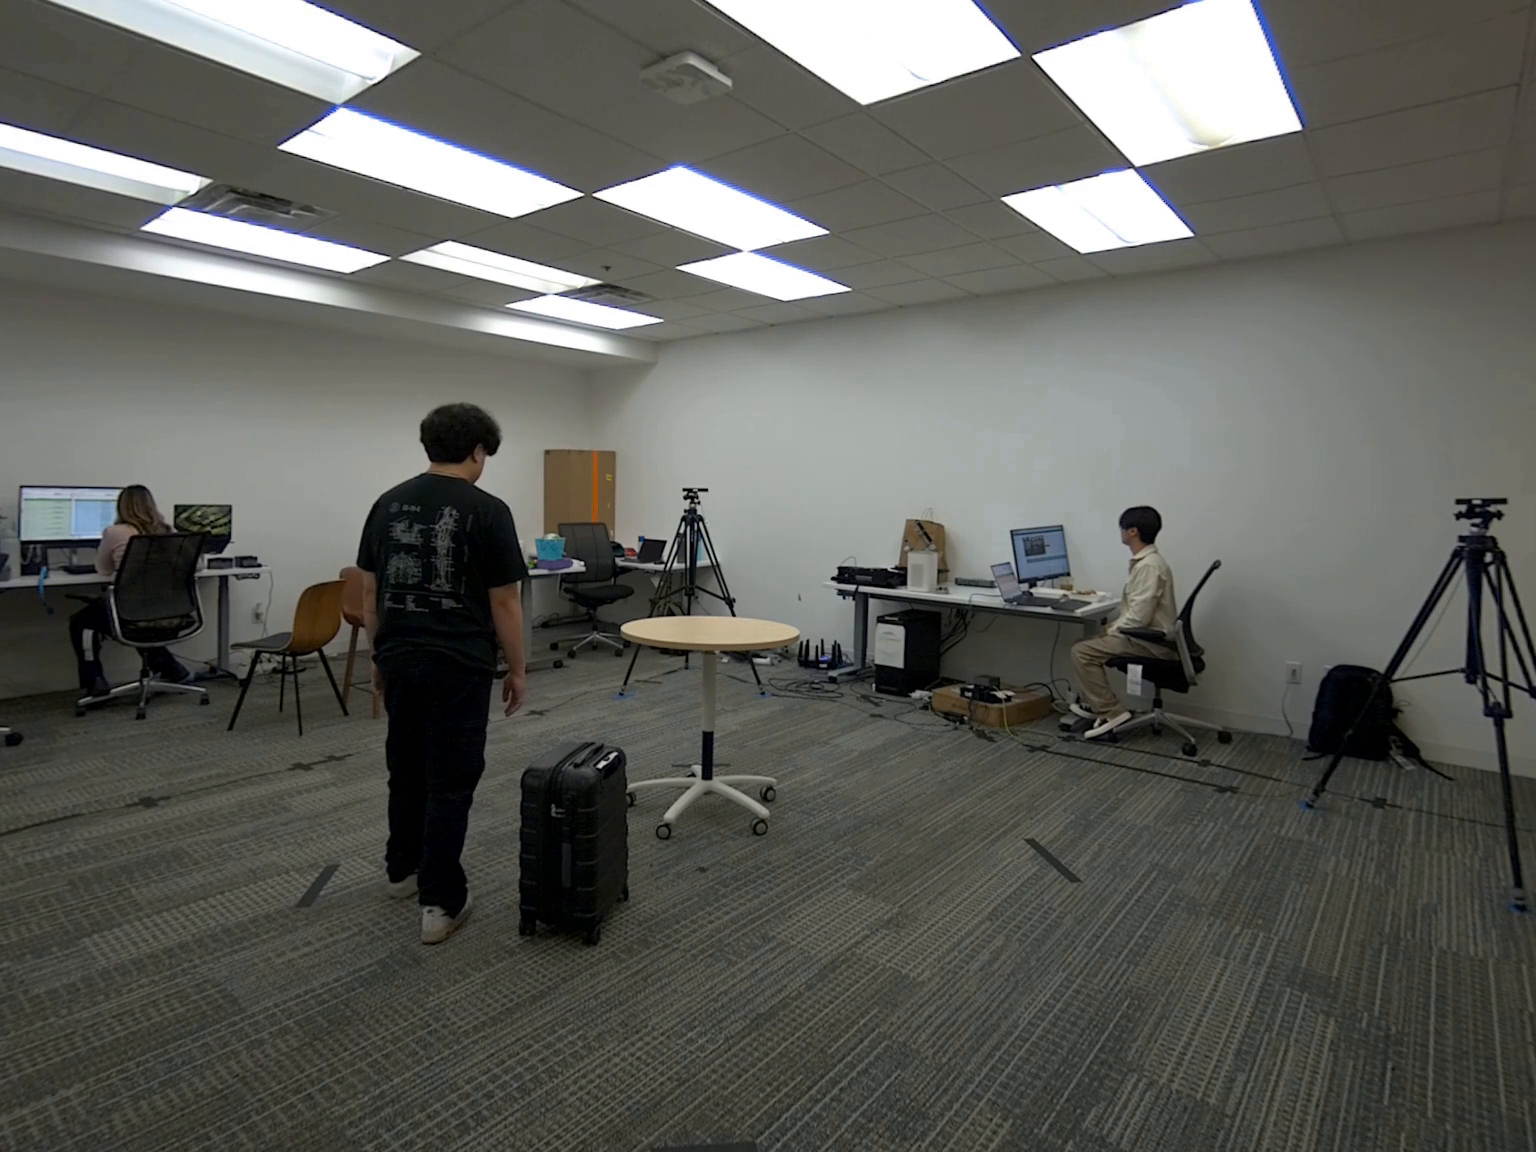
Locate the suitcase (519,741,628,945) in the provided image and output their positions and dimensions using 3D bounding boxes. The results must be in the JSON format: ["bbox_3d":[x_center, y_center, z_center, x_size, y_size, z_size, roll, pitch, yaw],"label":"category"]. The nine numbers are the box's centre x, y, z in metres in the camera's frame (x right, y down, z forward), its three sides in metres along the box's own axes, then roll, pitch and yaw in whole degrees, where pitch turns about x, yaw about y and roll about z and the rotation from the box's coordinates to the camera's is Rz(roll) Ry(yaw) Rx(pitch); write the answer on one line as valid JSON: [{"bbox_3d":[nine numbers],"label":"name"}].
[{"bbox_3d":[-0.629,0.834,2.711,0.251,0.547,0.372,1,5,11],"label":"suitcase"}]
